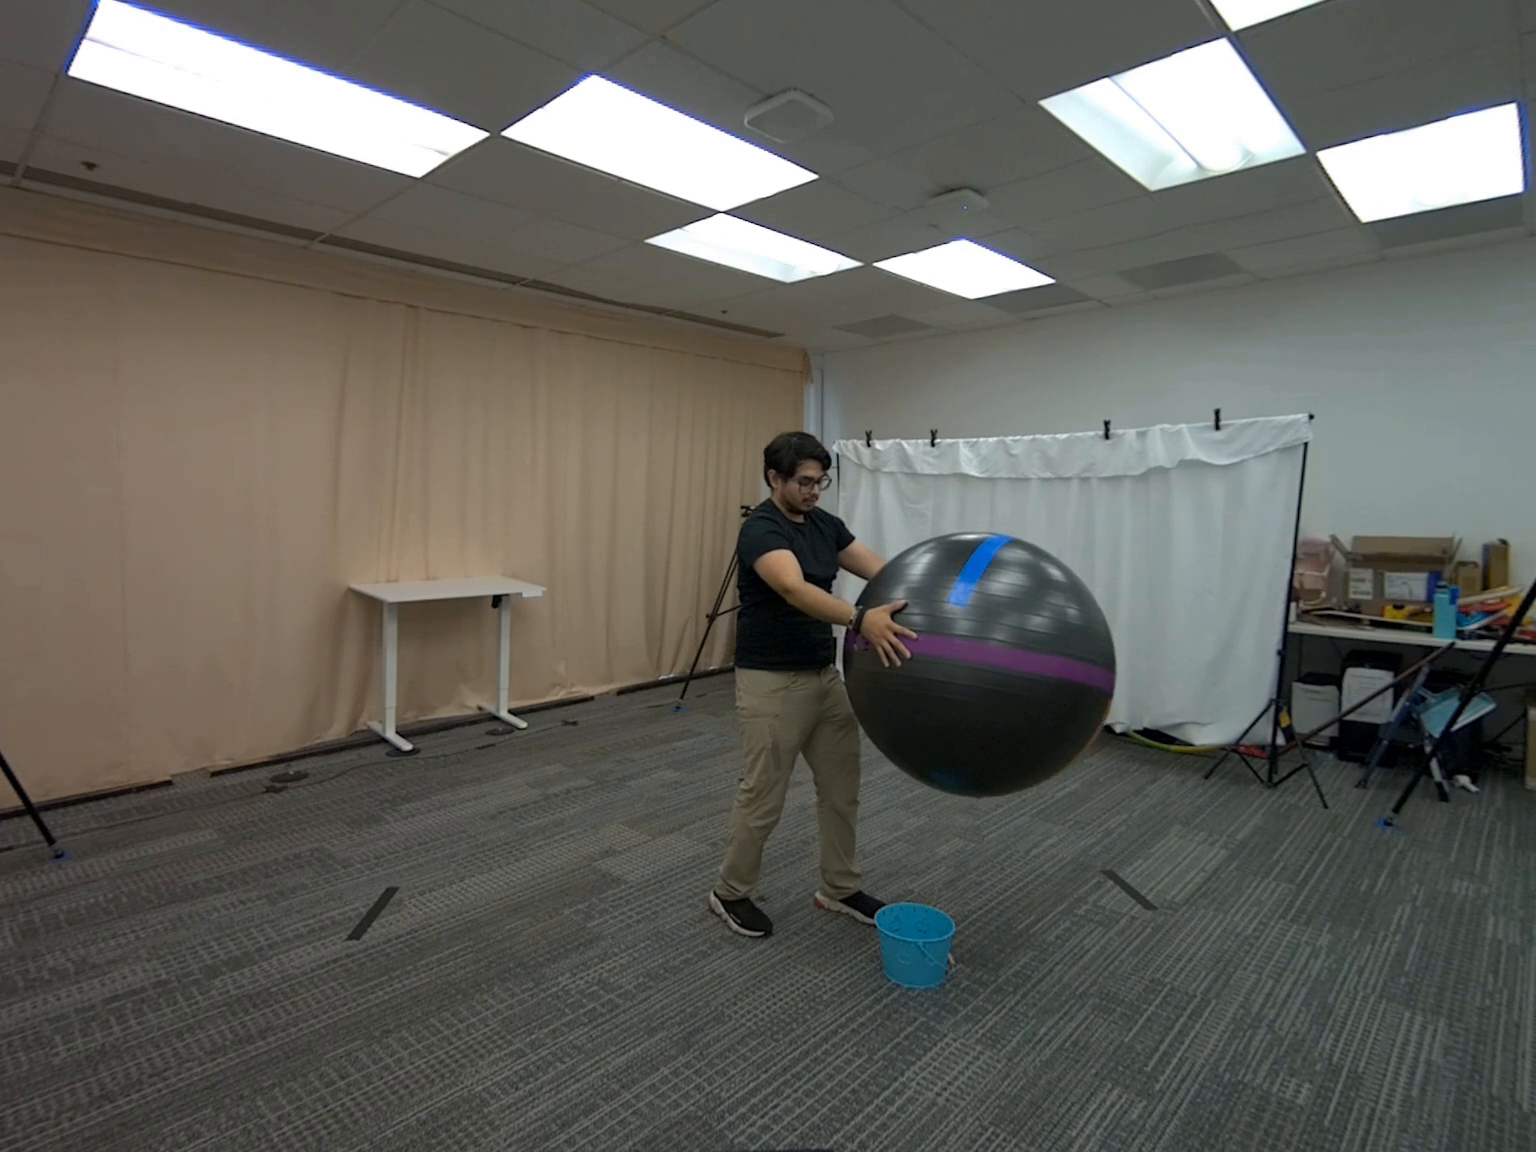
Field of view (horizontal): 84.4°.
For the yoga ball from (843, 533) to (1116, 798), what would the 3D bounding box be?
[{"bbox_3d":[0.616,0.267,2.456,0.757,0.756,0.761,0,4,-2],"label":"yoga ball"}]
